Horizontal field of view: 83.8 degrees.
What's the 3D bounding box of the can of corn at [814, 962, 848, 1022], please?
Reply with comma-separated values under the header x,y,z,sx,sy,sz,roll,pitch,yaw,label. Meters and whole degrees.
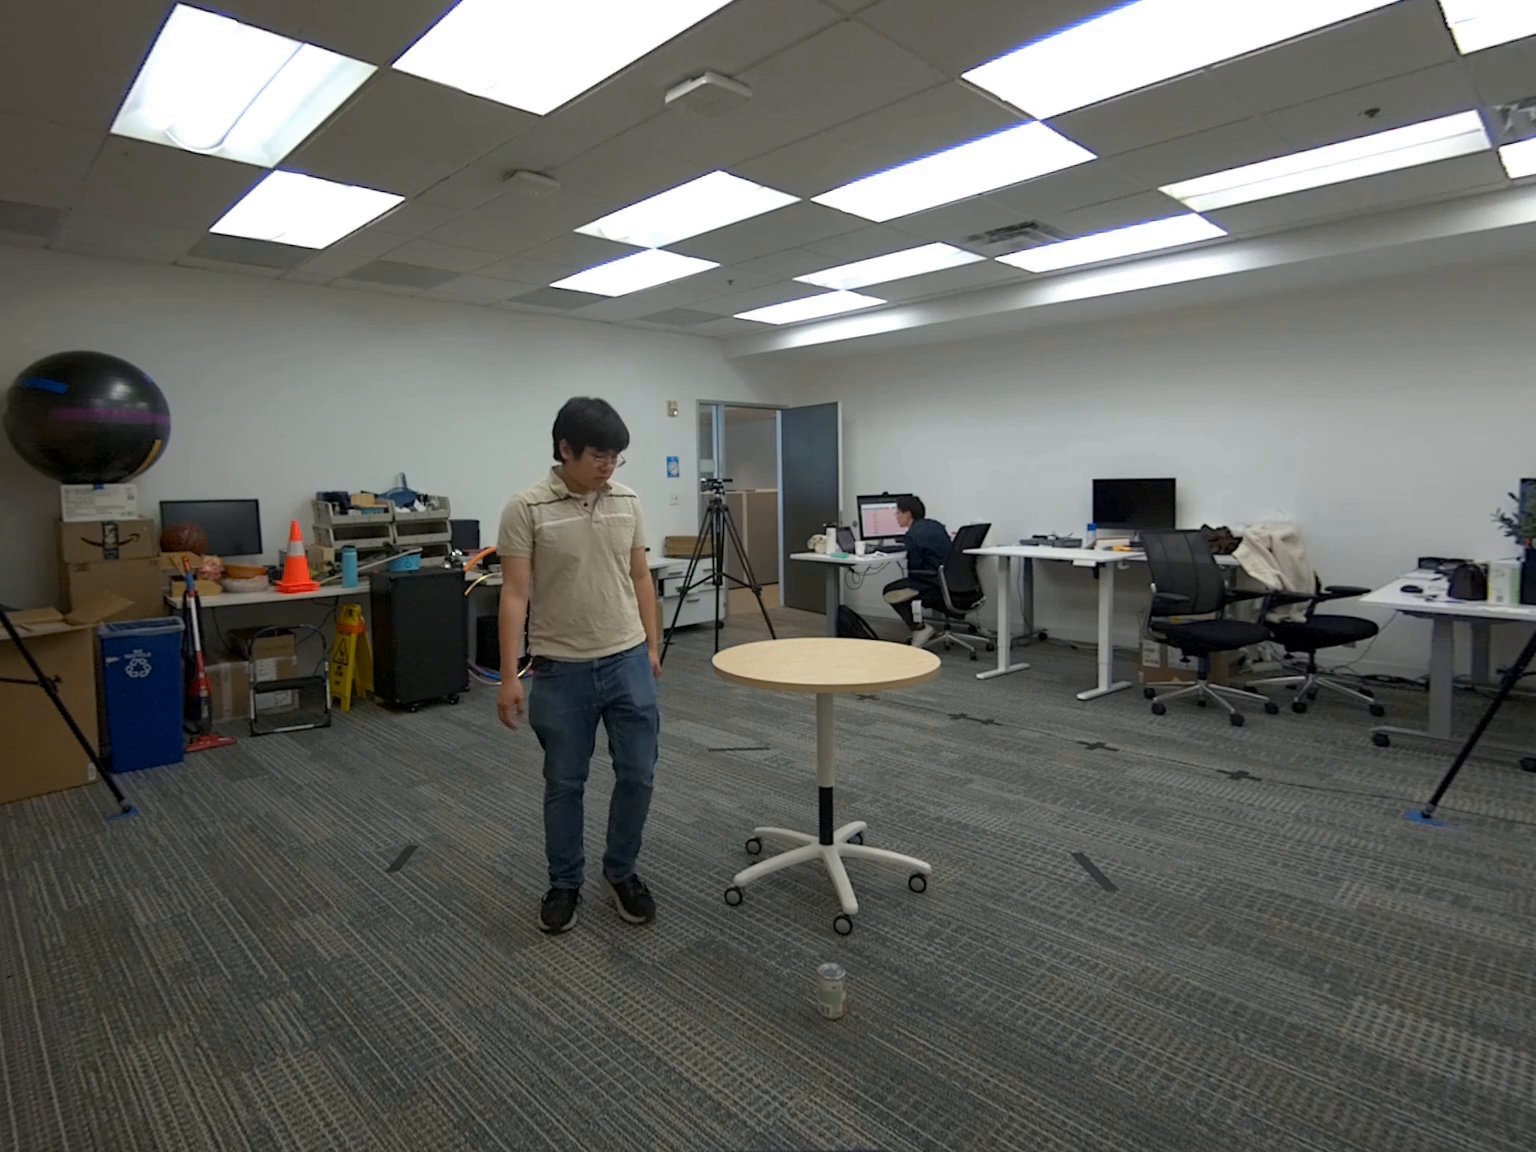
x,y,z,sx,sy,sz,roll,pitch,yaw,label
0.171,1.091,2.230,0.074,0.110,0.075,-3,7,-1,can of corn
